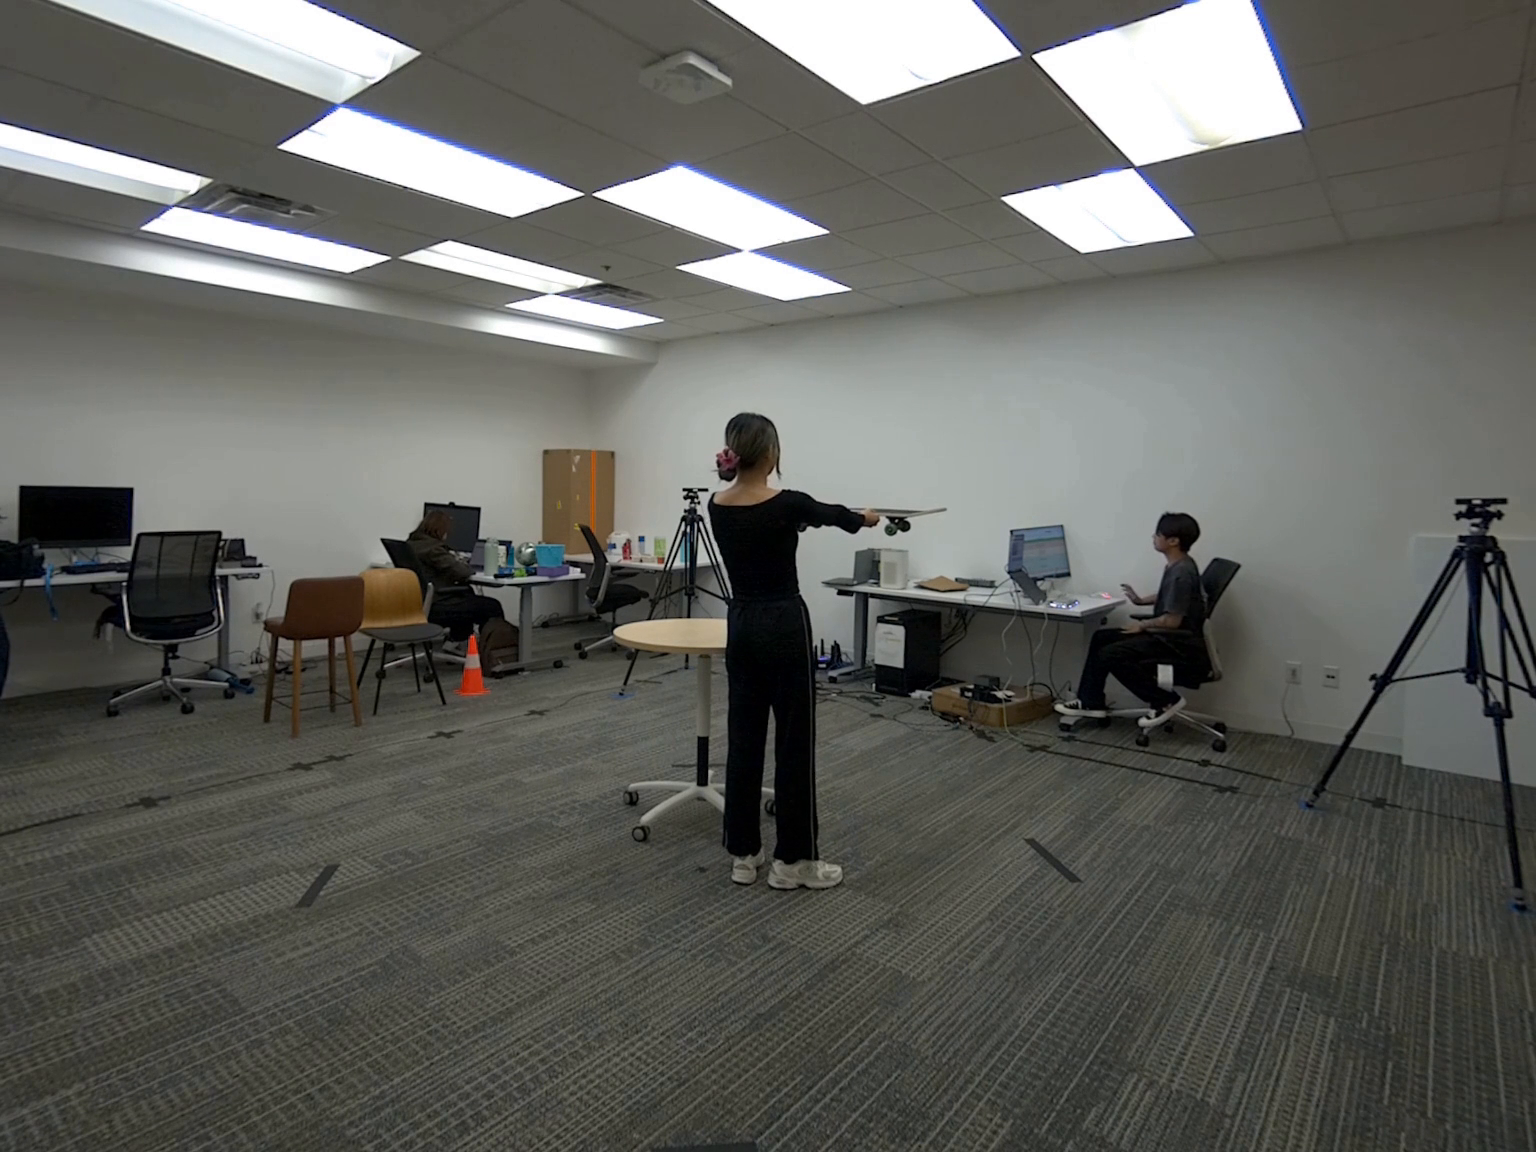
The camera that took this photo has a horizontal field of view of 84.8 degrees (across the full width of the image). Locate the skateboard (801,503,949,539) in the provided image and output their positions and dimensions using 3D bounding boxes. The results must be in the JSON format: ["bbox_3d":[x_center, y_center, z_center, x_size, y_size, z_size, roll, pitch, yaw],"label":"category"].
[{"bbox_3d":[0.336,-0.240,3.526,0.810,0.109,0.189,4,10,33],"label":"skateboard"}]
